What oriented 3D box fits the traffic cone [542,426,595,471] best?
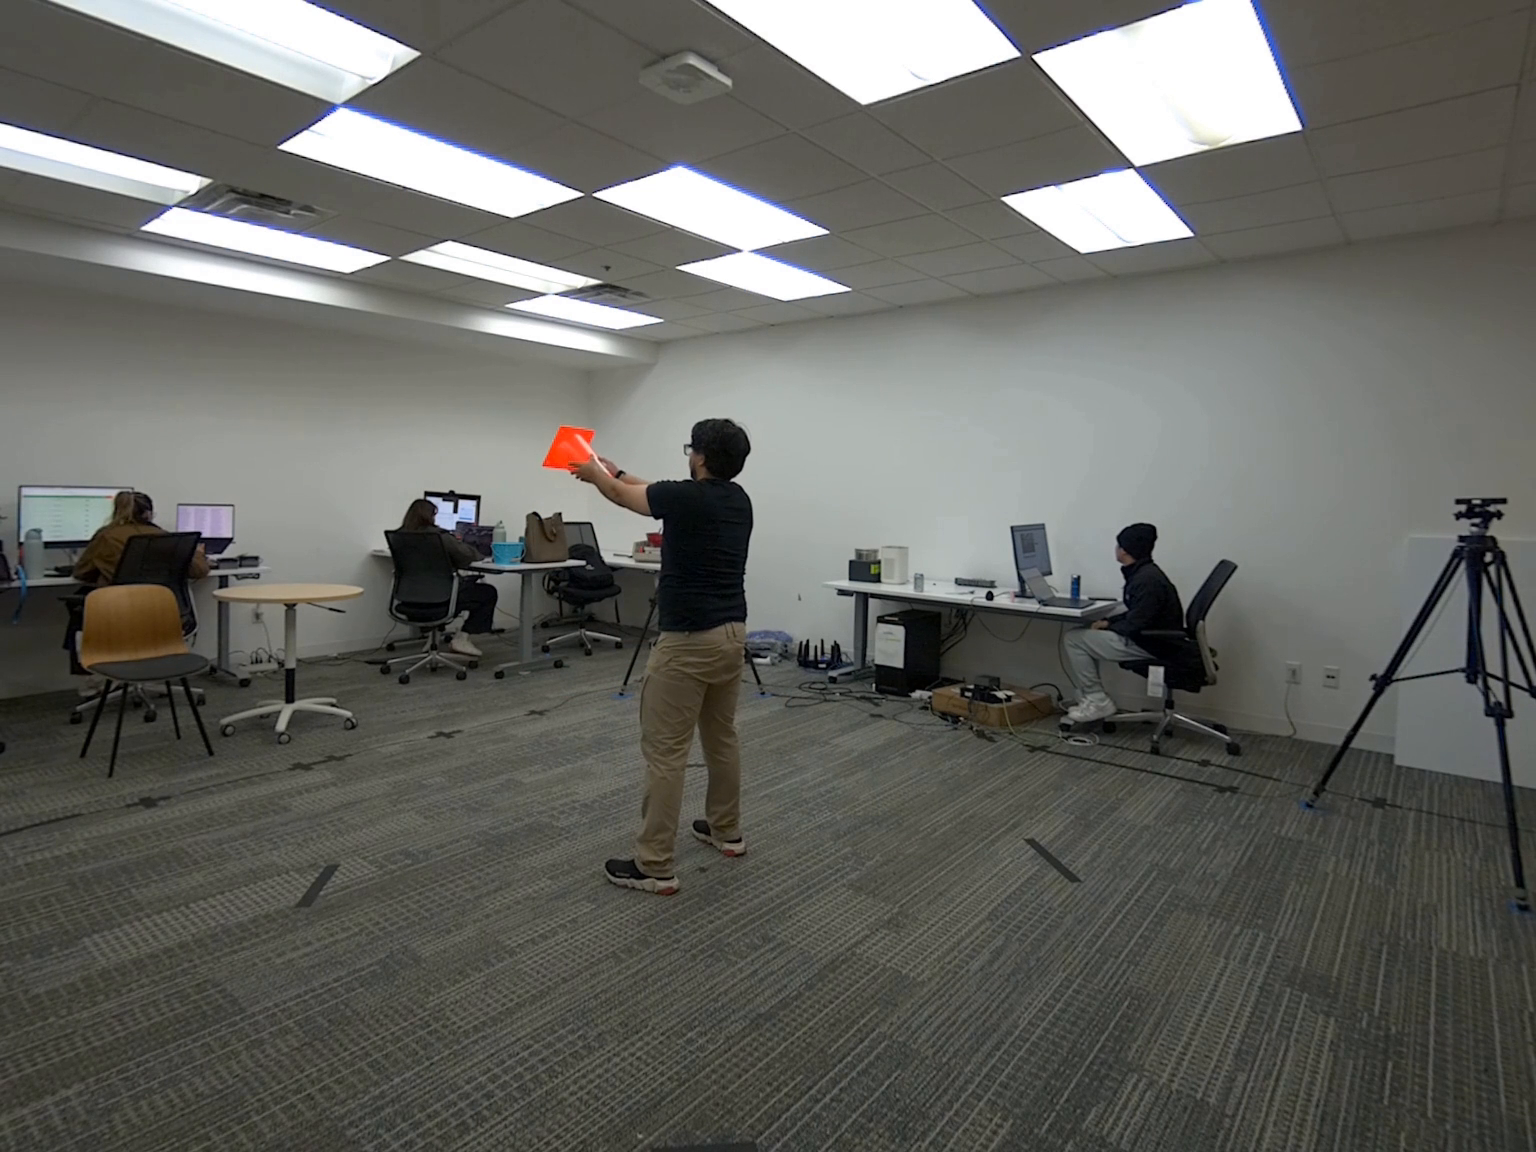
[{"bbox_3d":[-0.721,-0.424,3.471,0.398,0.202,0.199,41,21,28],"label":"traffic cone"}]
